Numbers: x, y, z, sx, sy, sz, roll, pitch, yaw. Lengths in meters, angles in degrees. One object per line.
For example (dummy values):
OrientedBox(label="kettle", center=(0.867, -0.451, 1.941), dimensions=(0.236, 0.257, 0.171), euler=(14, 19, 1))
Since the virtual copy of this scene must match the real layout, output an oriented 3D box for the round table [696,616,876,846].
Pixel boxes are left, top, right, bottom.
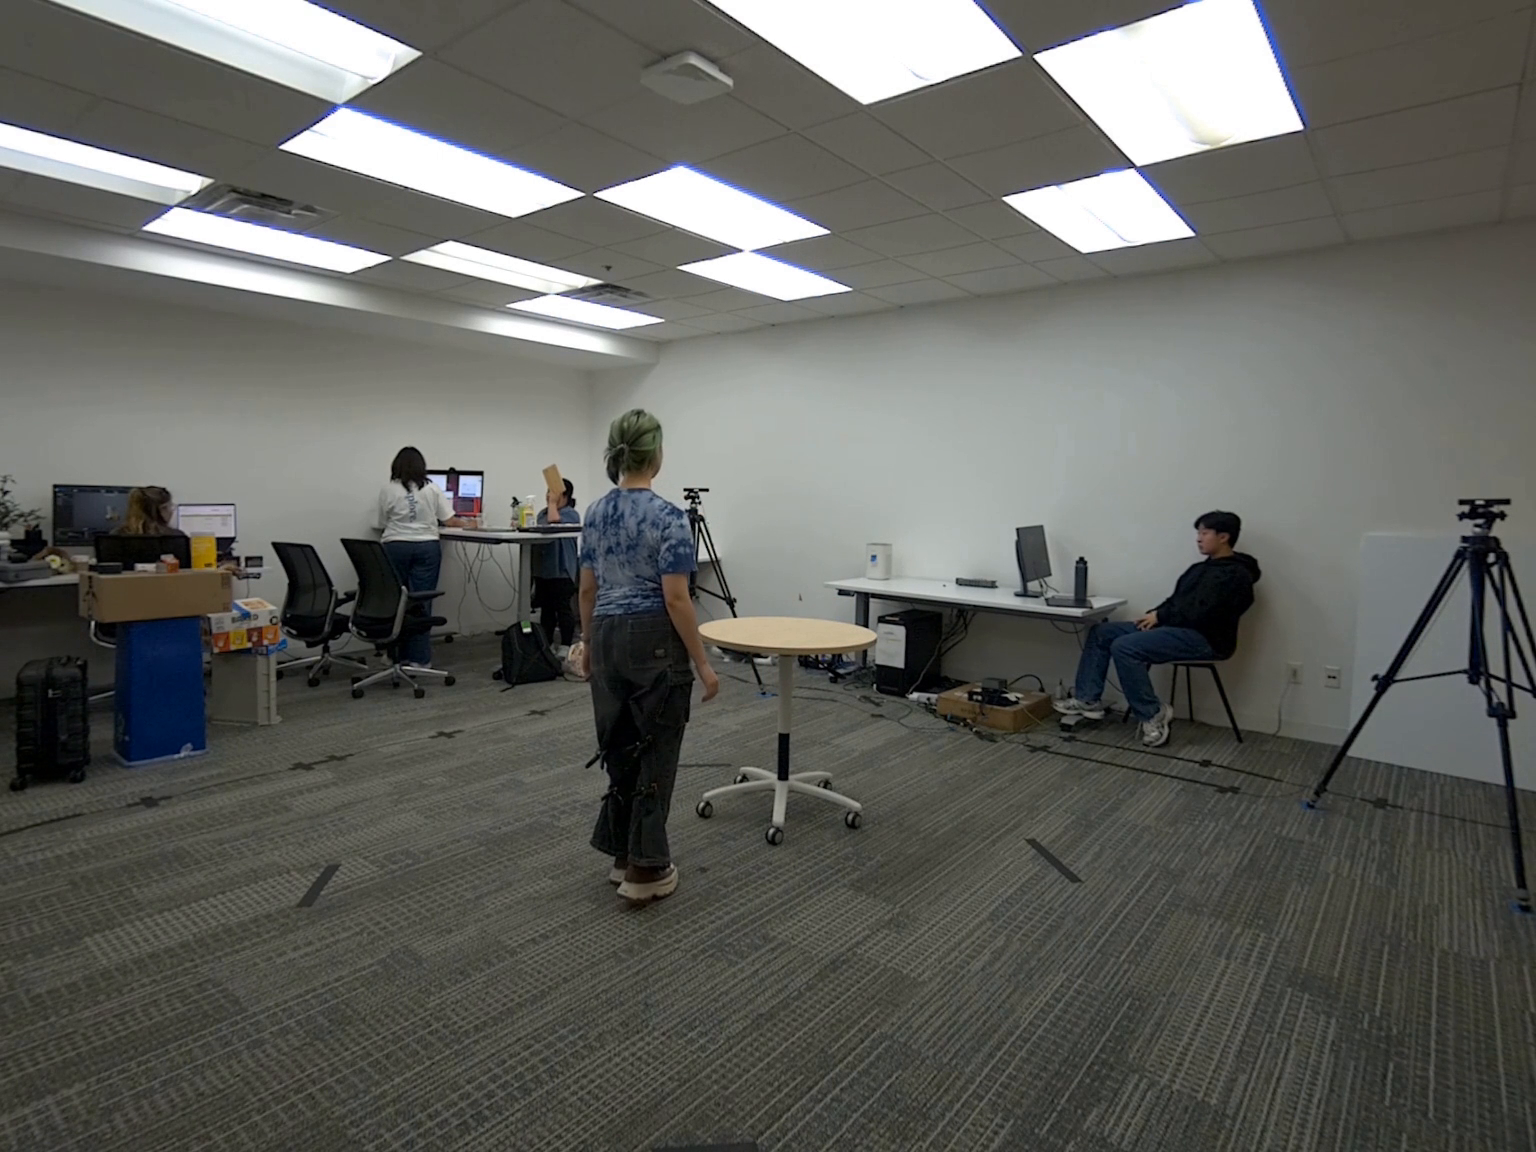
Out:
OrientedBox(label="round table", center=(0.059, 0.630, 3.679), dimensions=(0.763, 0.791, 0.768), euler=(1, 4, -2))
